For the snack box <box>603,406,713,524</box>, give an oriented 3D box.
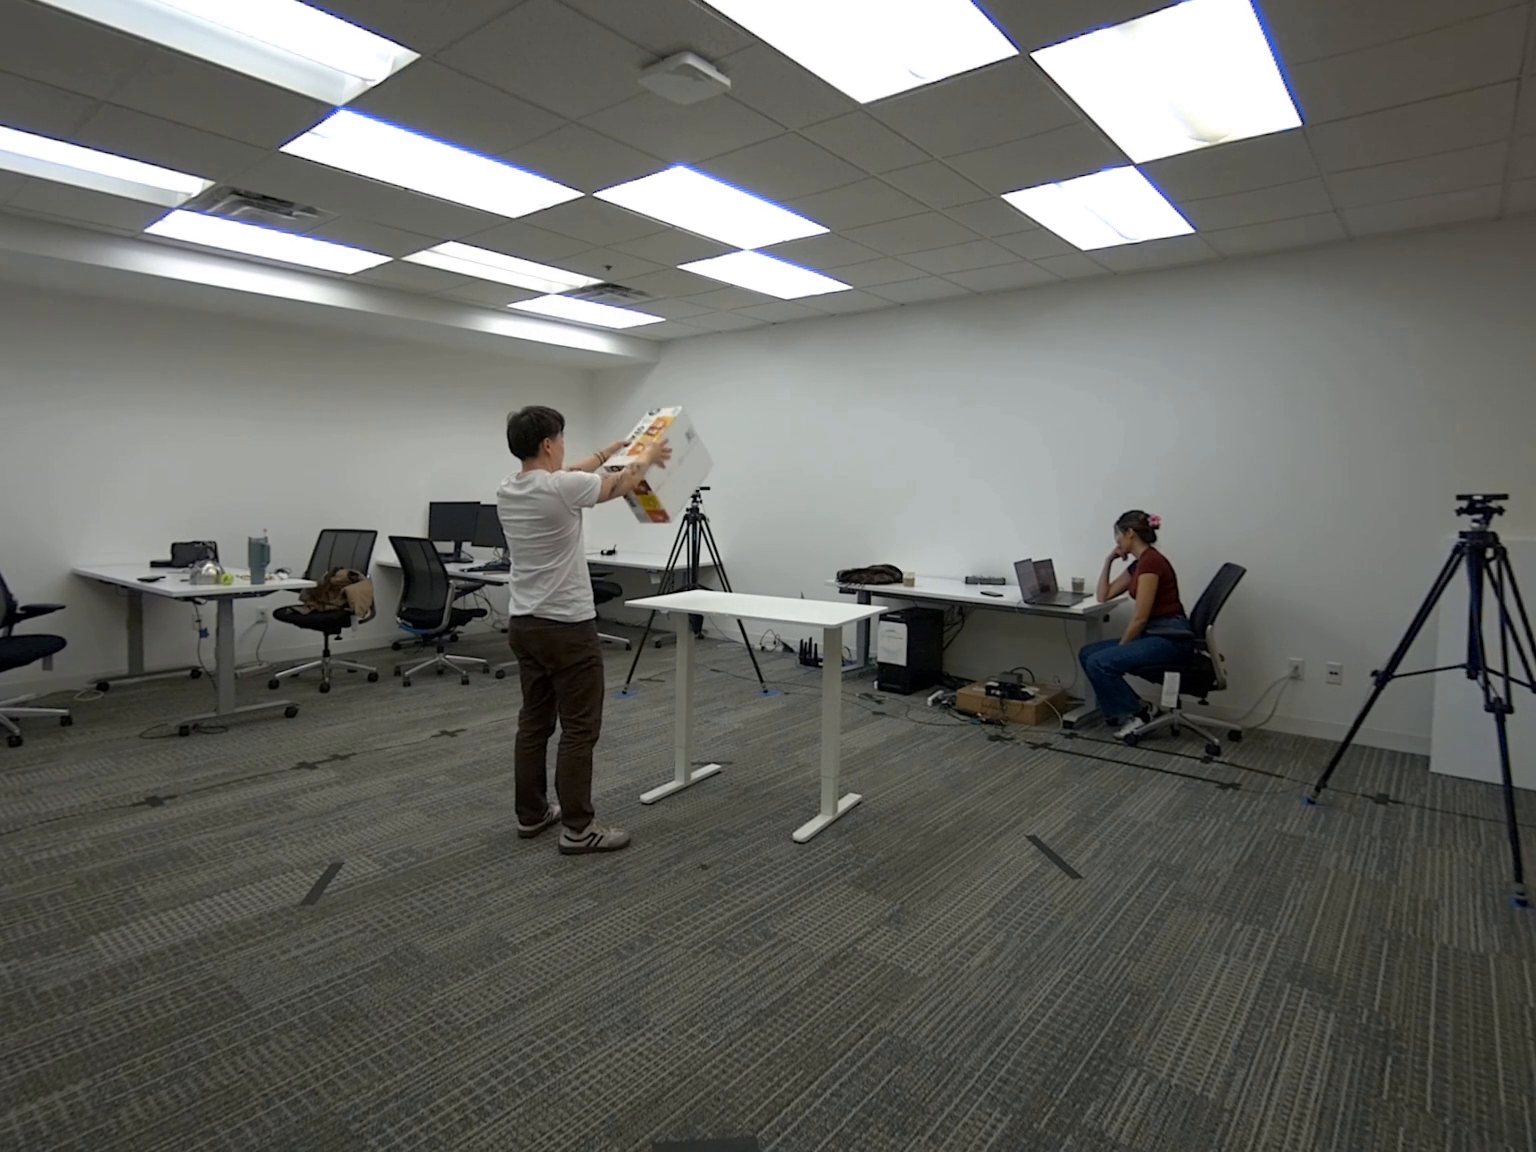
[{"bbox_3d":[-0.504,-0.507,3.793,0.212,0.327,0.408,2,46,37],"label":"snack box"}]
